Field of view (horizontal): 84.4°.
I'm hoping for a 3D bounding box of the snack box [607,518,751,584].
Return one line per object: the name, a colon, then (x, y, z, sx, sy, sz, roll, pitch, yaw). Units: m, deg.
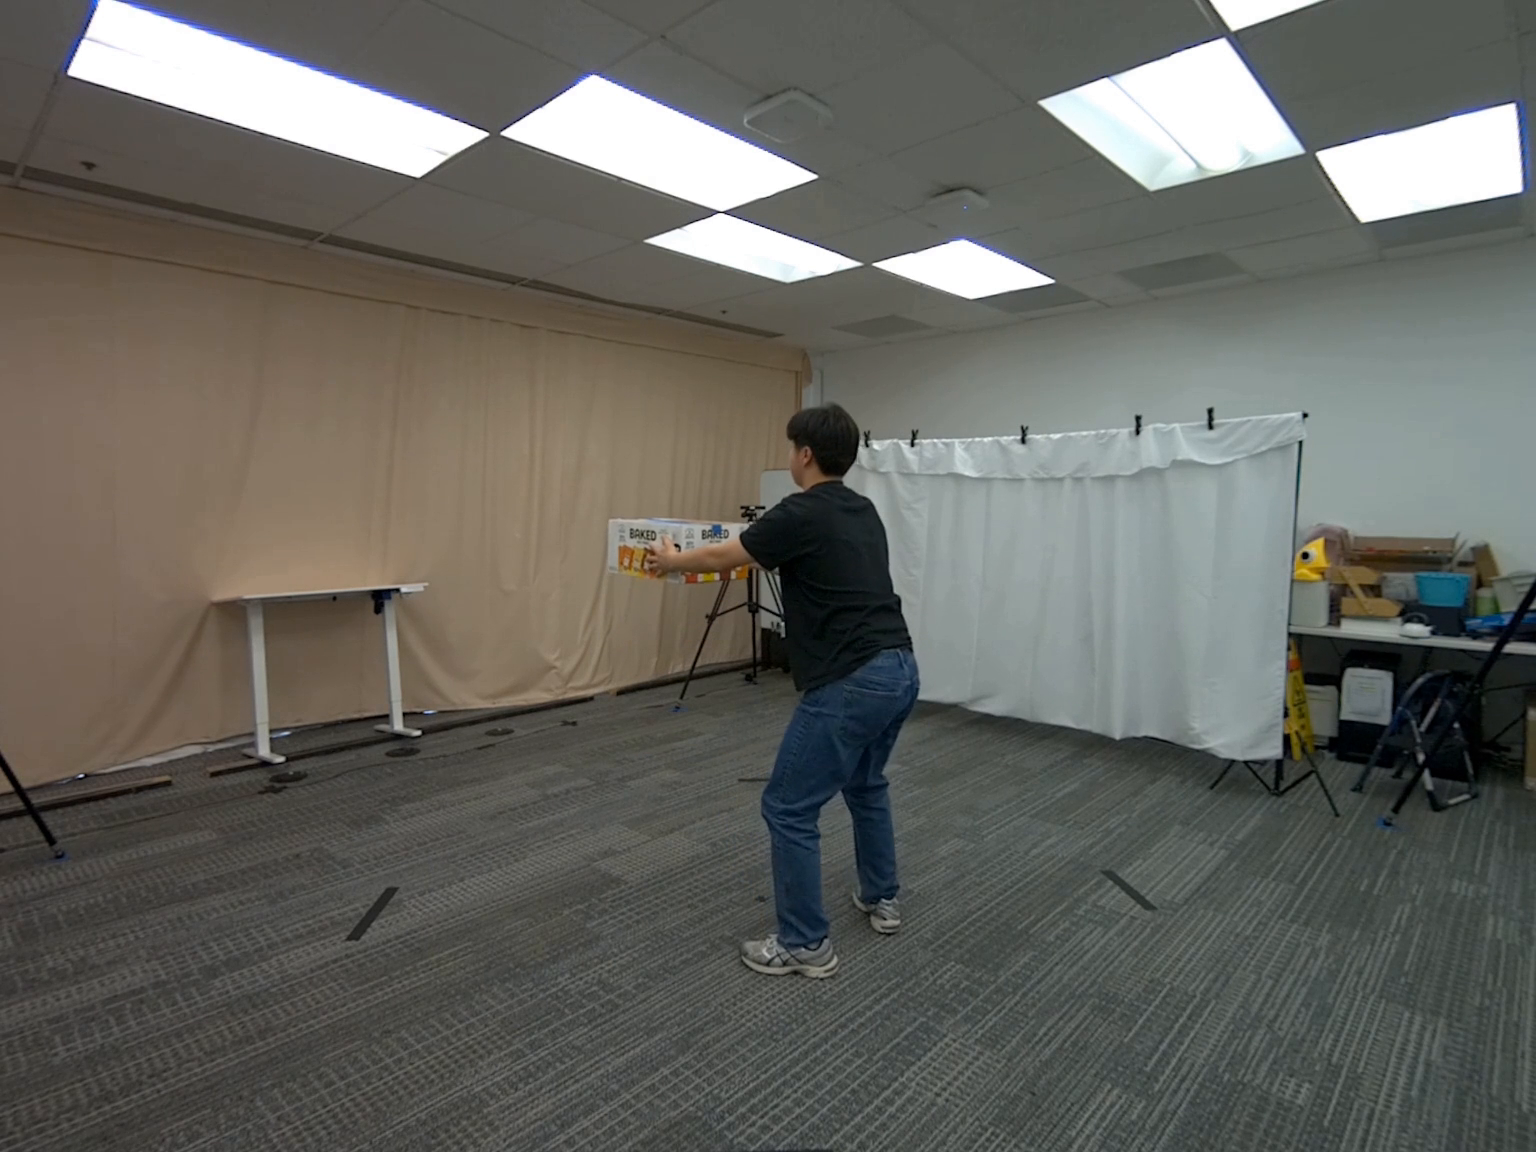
snack box: (-0.334, -0.097, 3.134, 0.419, 0.205, 0.330, 7, 7, 43)
